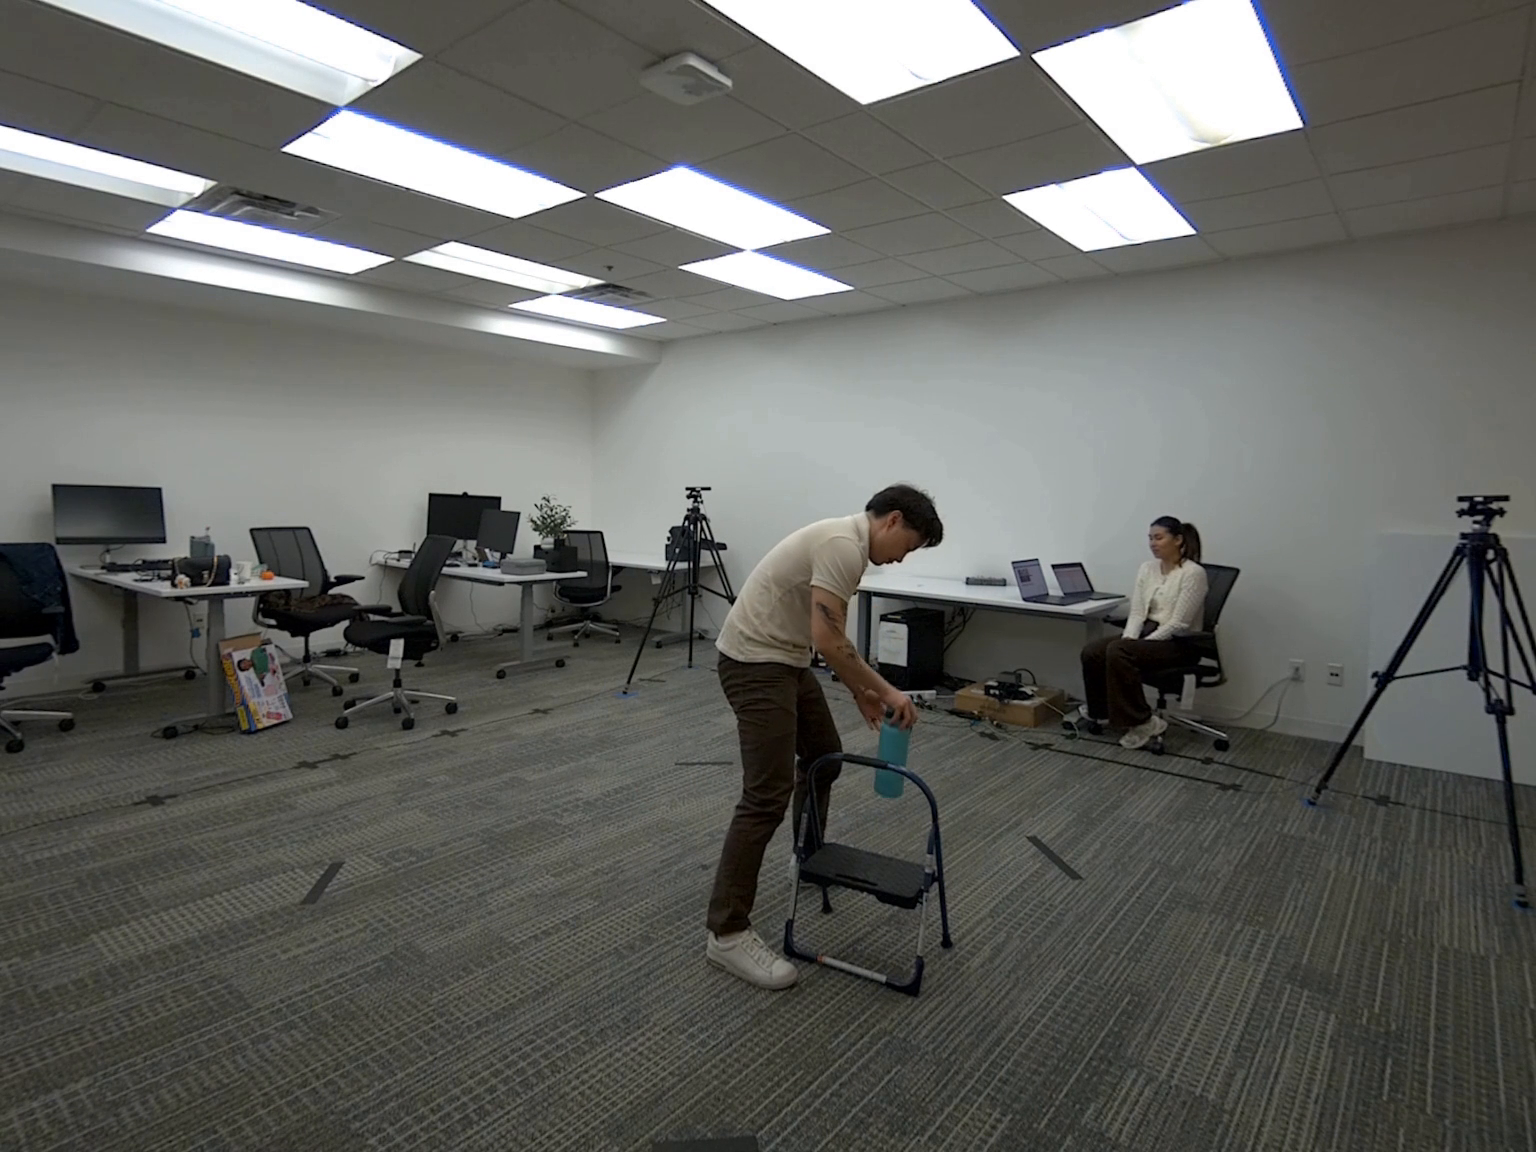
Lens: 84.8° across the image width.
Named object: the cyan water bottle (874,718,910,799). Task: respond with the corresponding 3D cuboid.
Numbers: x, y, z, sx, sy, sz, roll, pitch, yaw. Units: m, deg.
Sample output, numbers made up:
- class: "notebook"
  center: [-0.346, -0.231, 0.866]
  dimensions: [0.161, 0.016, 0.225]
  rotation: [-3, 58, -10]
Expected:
- class: "cyan water bottle"
  center: [0.378, 0.515, 2.585]
  dimensions: [0.092, 0.281, 0.093]
  rotation: [5, 9, -3]
